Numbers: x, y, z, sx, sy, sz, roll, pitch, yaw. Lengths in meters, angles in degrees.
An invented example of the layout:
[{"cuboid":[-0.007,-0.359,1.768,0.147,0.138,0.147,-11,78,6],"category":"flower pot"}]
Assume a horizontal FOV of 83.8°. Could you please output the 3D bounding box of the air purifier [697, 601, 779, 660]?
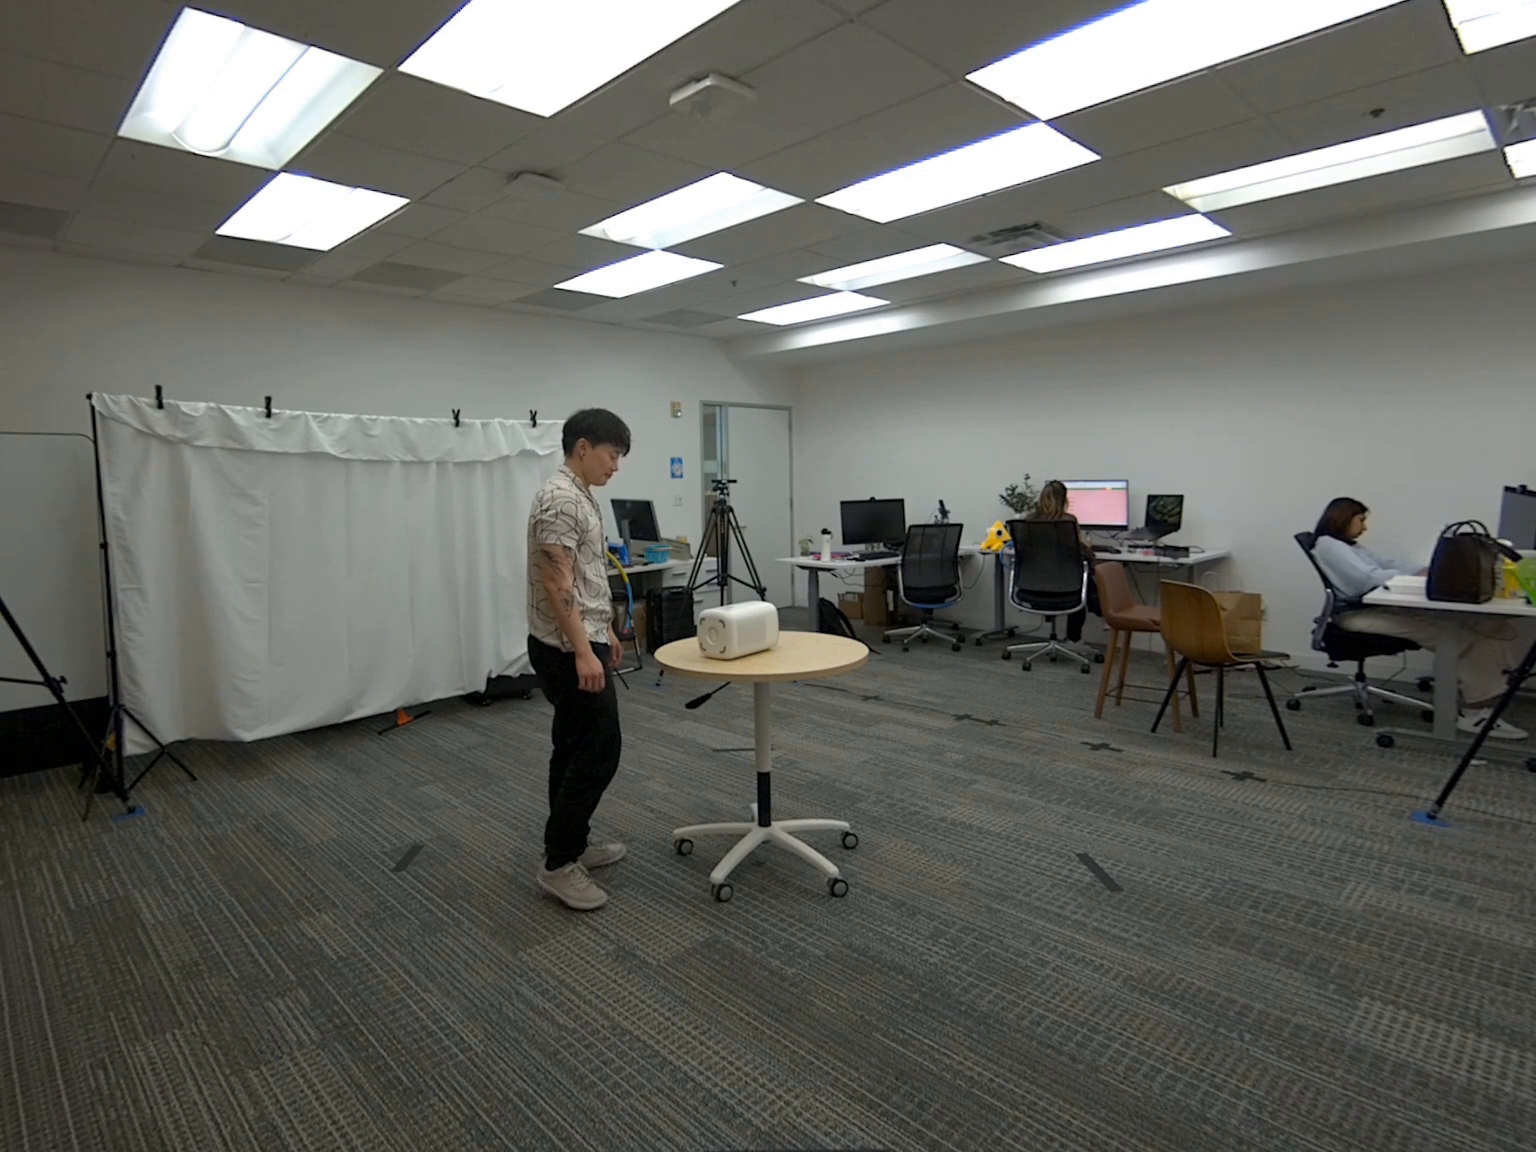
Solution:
[{"cuboid":[-0.107,0.184,3.011,0.176,0.171,0.259,4,7,39],"category":"air purifier"}]
